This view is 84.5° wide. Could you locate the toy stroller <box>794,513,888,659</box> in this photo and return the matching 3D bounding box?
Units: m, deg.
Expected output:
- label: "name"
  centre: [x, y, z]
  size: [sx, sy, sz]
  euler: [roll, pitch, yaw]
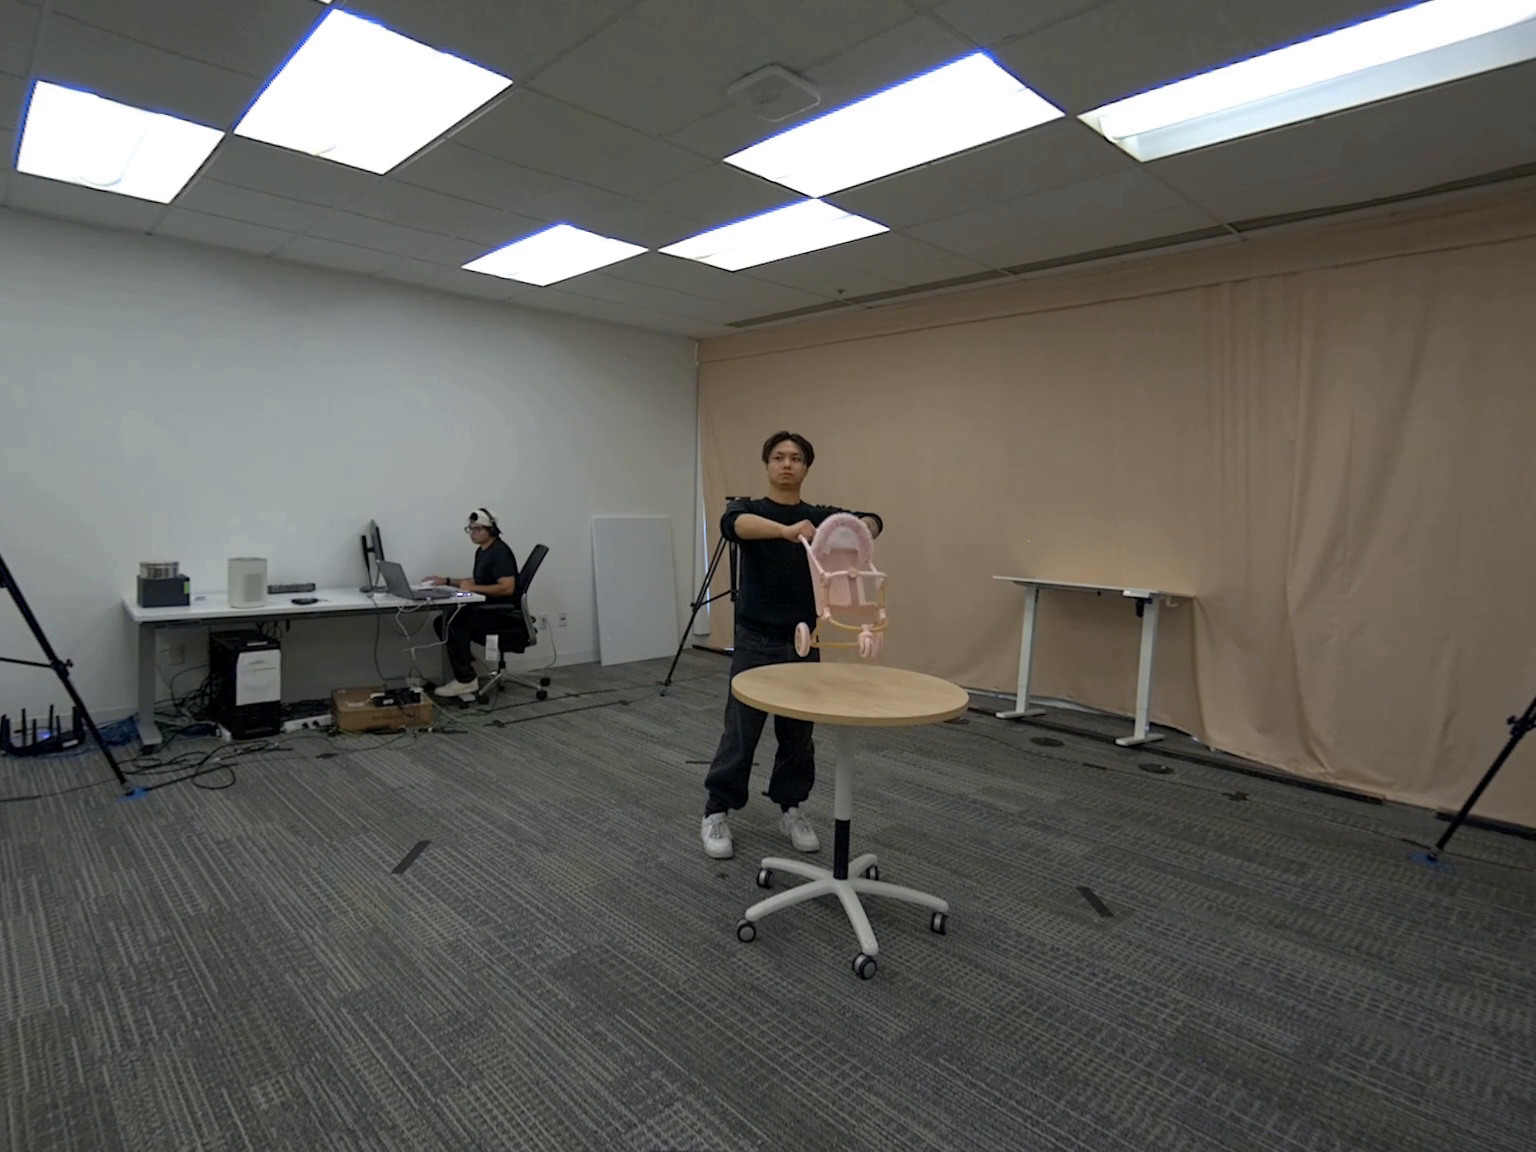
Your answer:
- label: "toy stroller"
  centre: [0.243, 0.031, 2.740]
  size: [0.279, 0.542, 0.339]
  euler: [2, -19, -10]
